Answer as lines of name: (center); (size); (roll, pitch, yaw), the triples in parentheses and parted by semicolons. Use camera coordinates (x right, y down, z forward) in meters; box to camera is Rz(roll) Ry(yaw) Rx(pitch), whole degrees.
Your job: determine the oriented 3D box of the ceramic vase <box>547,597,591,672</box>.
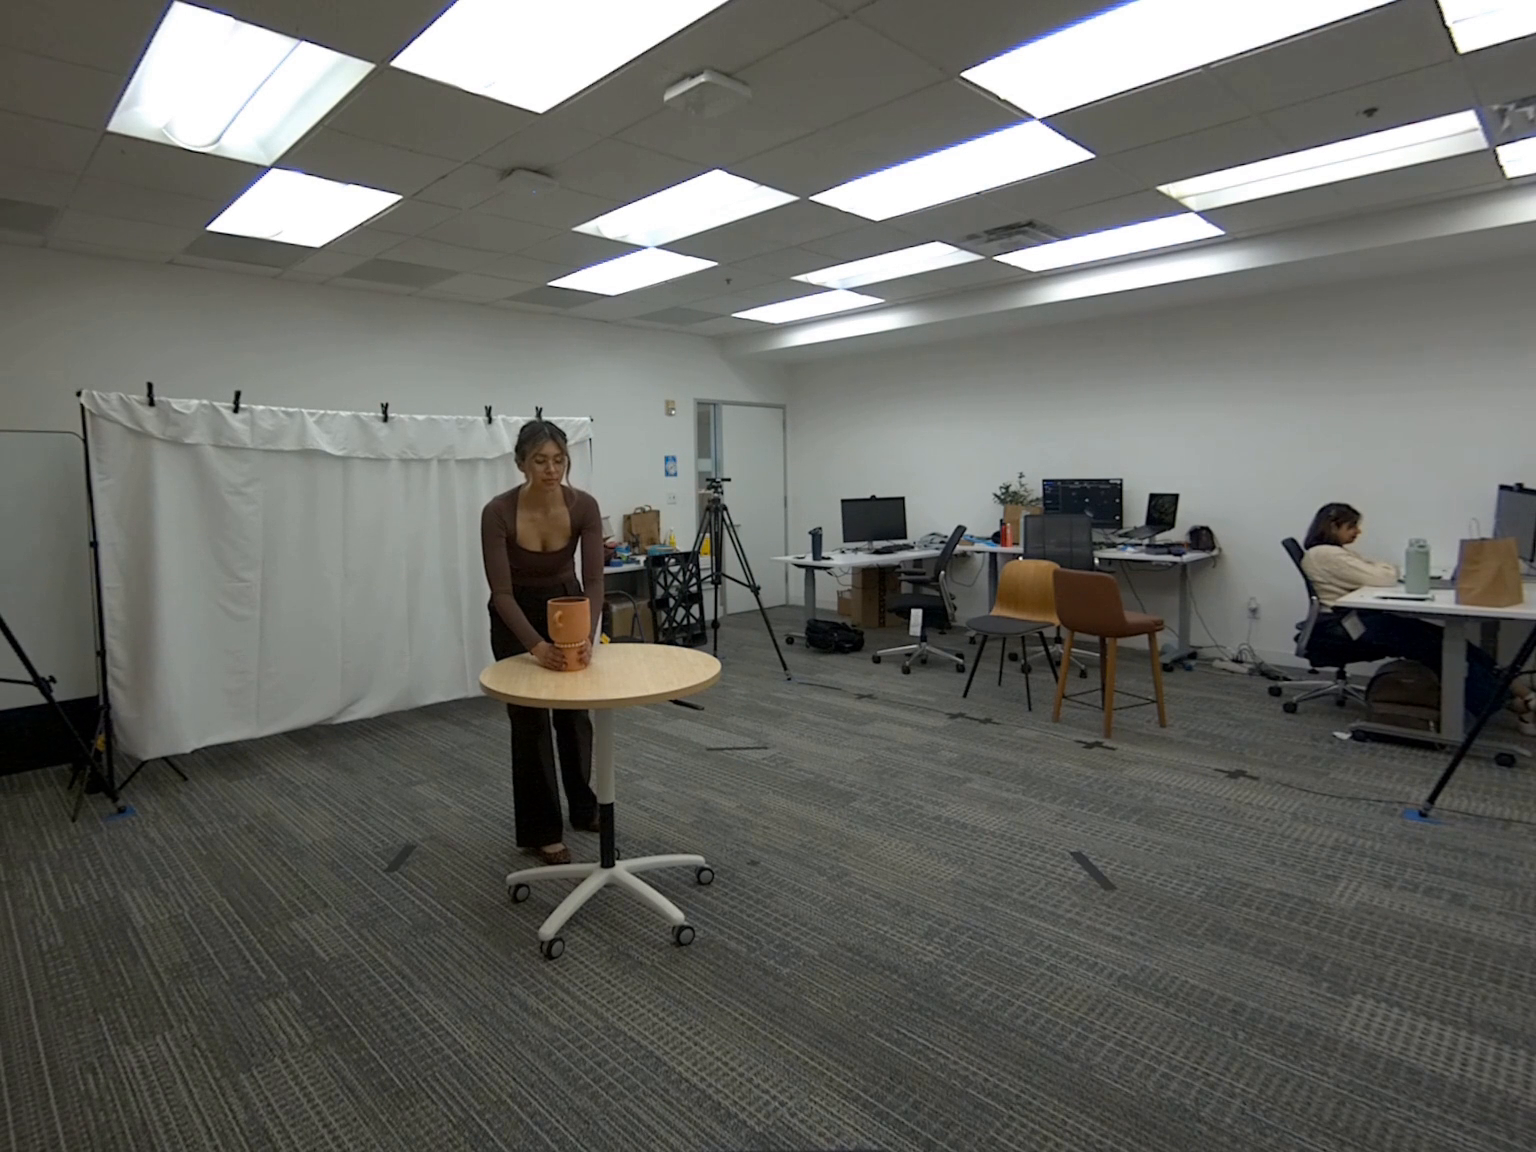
ceramic vase: (-0.635, 0.187, 2.742); (0.155, 0.219, 0.139); (-5, 7, -39)
